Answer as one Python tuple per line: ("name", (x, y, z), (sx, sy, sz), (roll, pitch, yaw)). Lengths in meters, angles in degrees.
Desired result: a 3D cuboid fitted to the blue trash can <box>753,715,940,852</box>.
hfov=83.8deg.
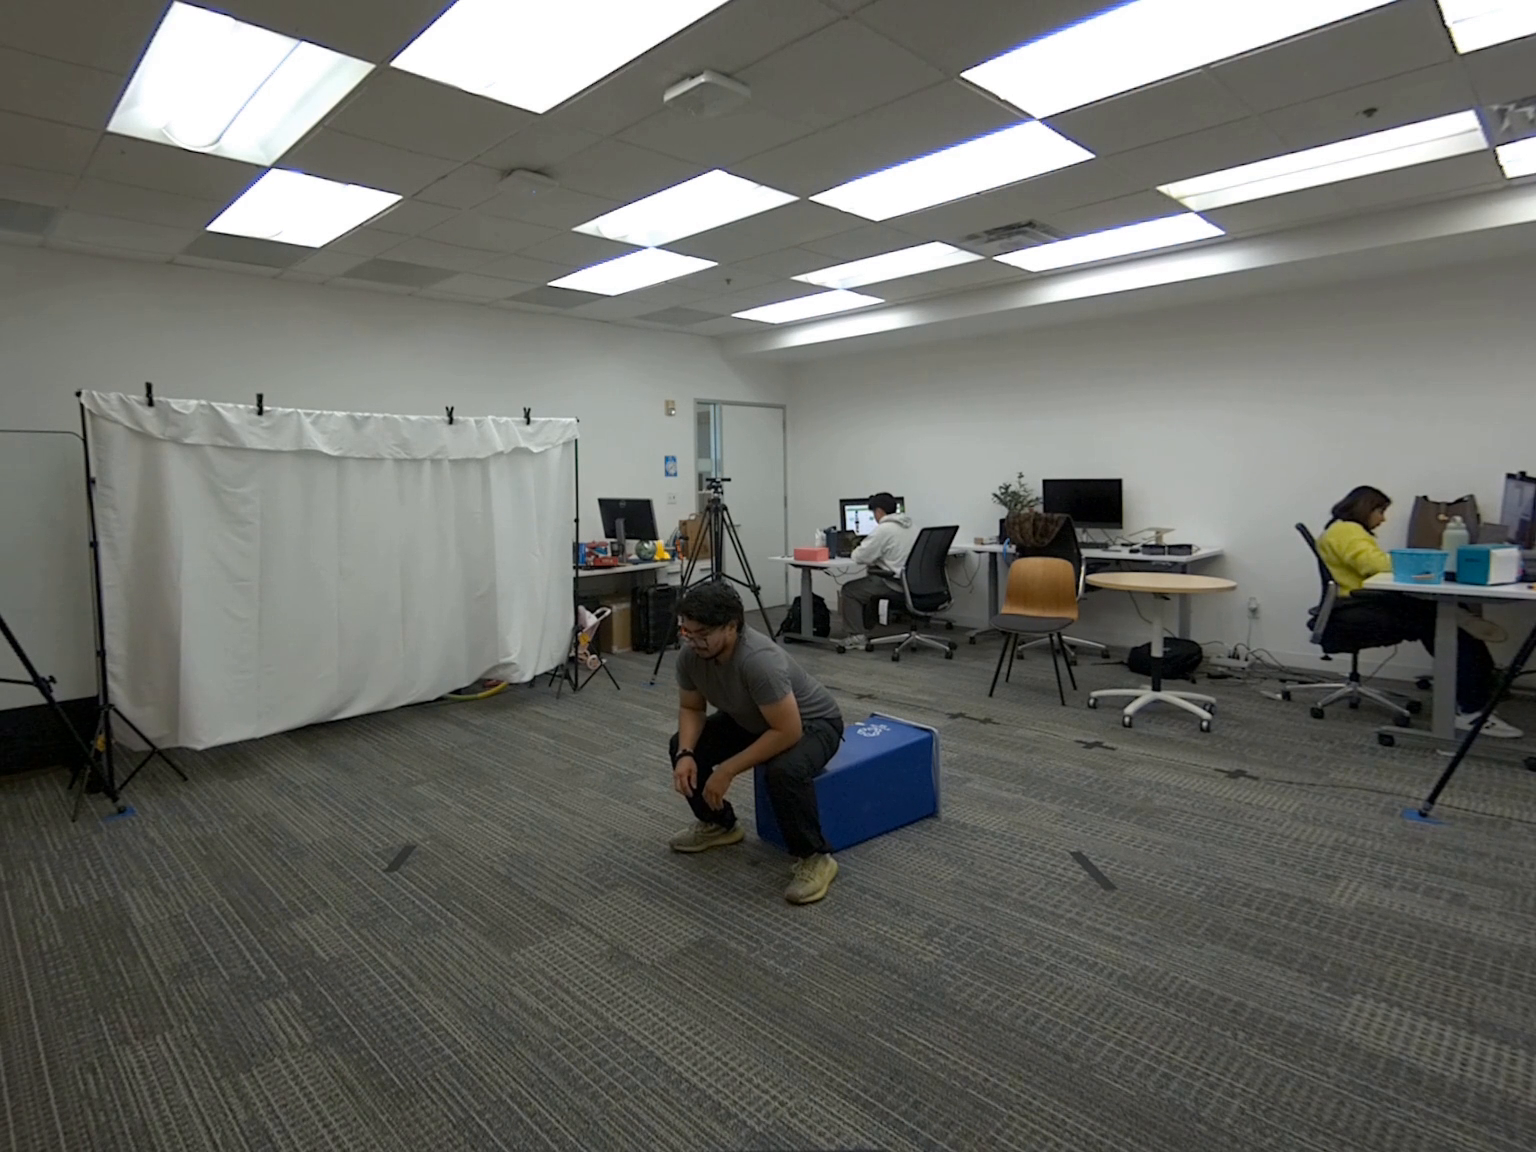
("blue trash can", (0.322, 0.823, 3.410), (0.696, 0.372, 0.390), (-8, 8, -39))
